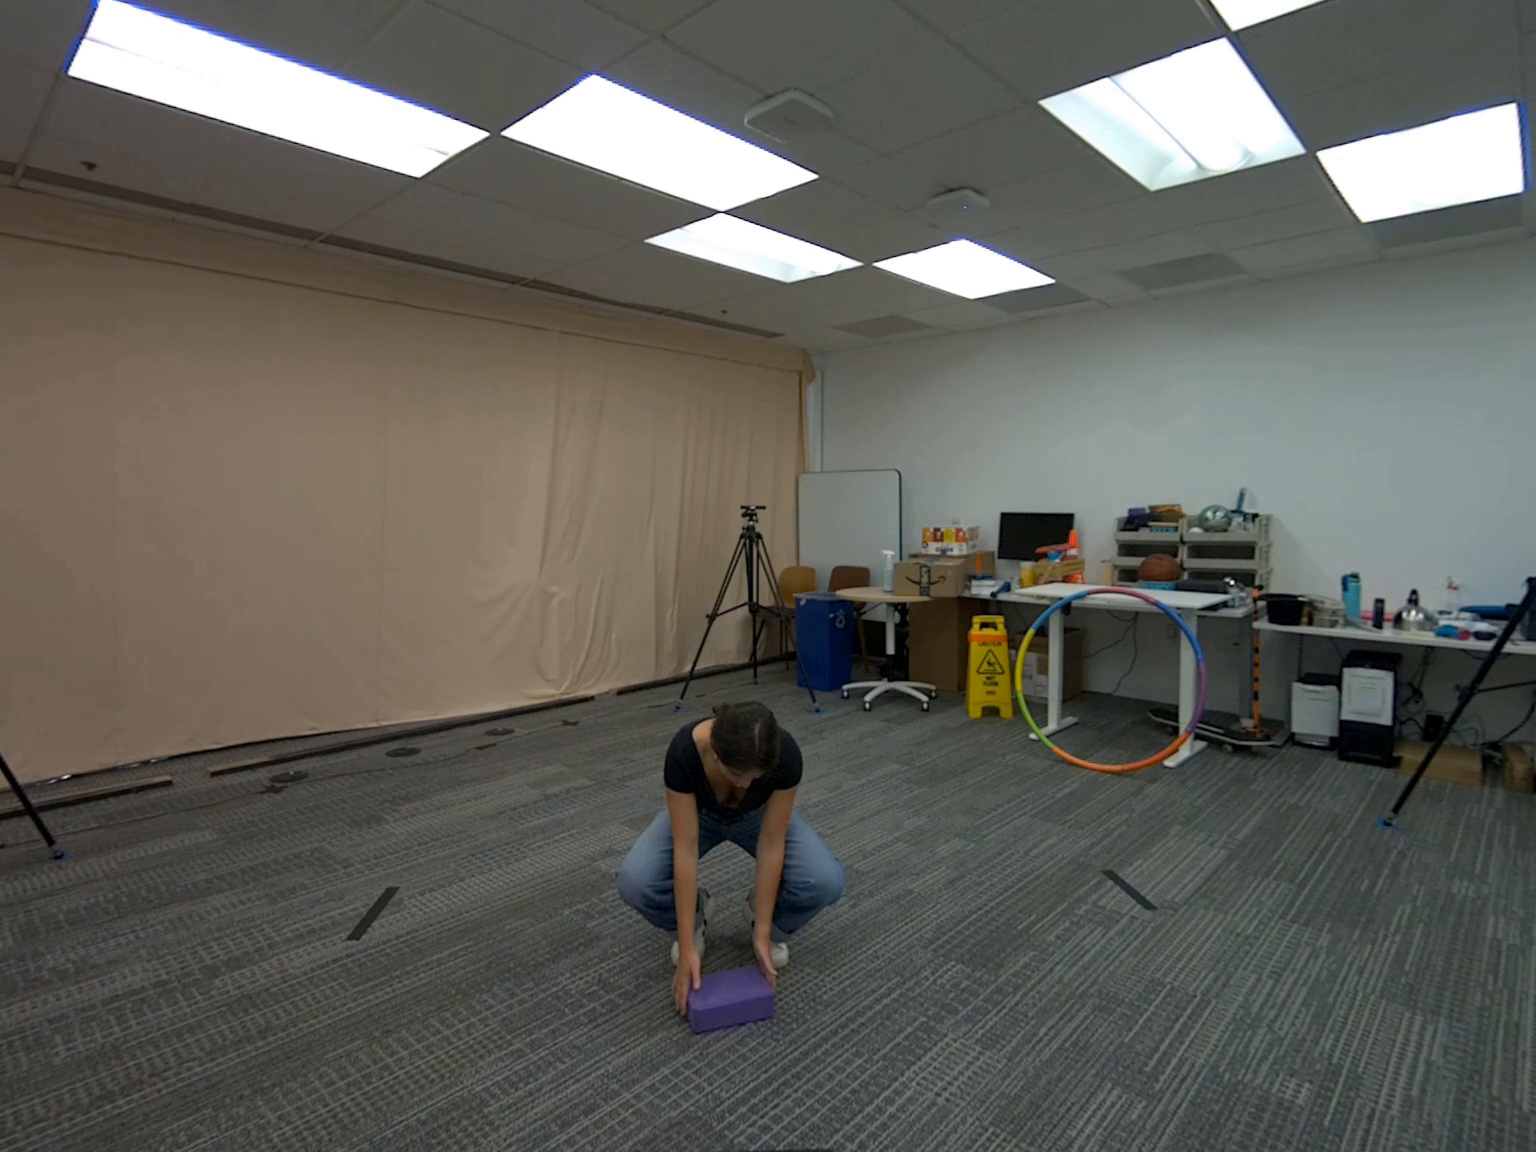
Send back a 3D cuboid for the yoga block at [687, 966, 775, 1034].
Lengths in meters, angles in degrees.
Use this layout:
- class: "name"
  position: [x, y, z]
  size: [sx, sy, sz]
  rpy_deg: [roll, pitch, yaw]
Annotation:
- class: "yoga block"
  position: [-0.103, 1.144, 2.318]
  size: [0.226, 0.076, 0.152]
  rpy_deg: [0, 6, -15]
